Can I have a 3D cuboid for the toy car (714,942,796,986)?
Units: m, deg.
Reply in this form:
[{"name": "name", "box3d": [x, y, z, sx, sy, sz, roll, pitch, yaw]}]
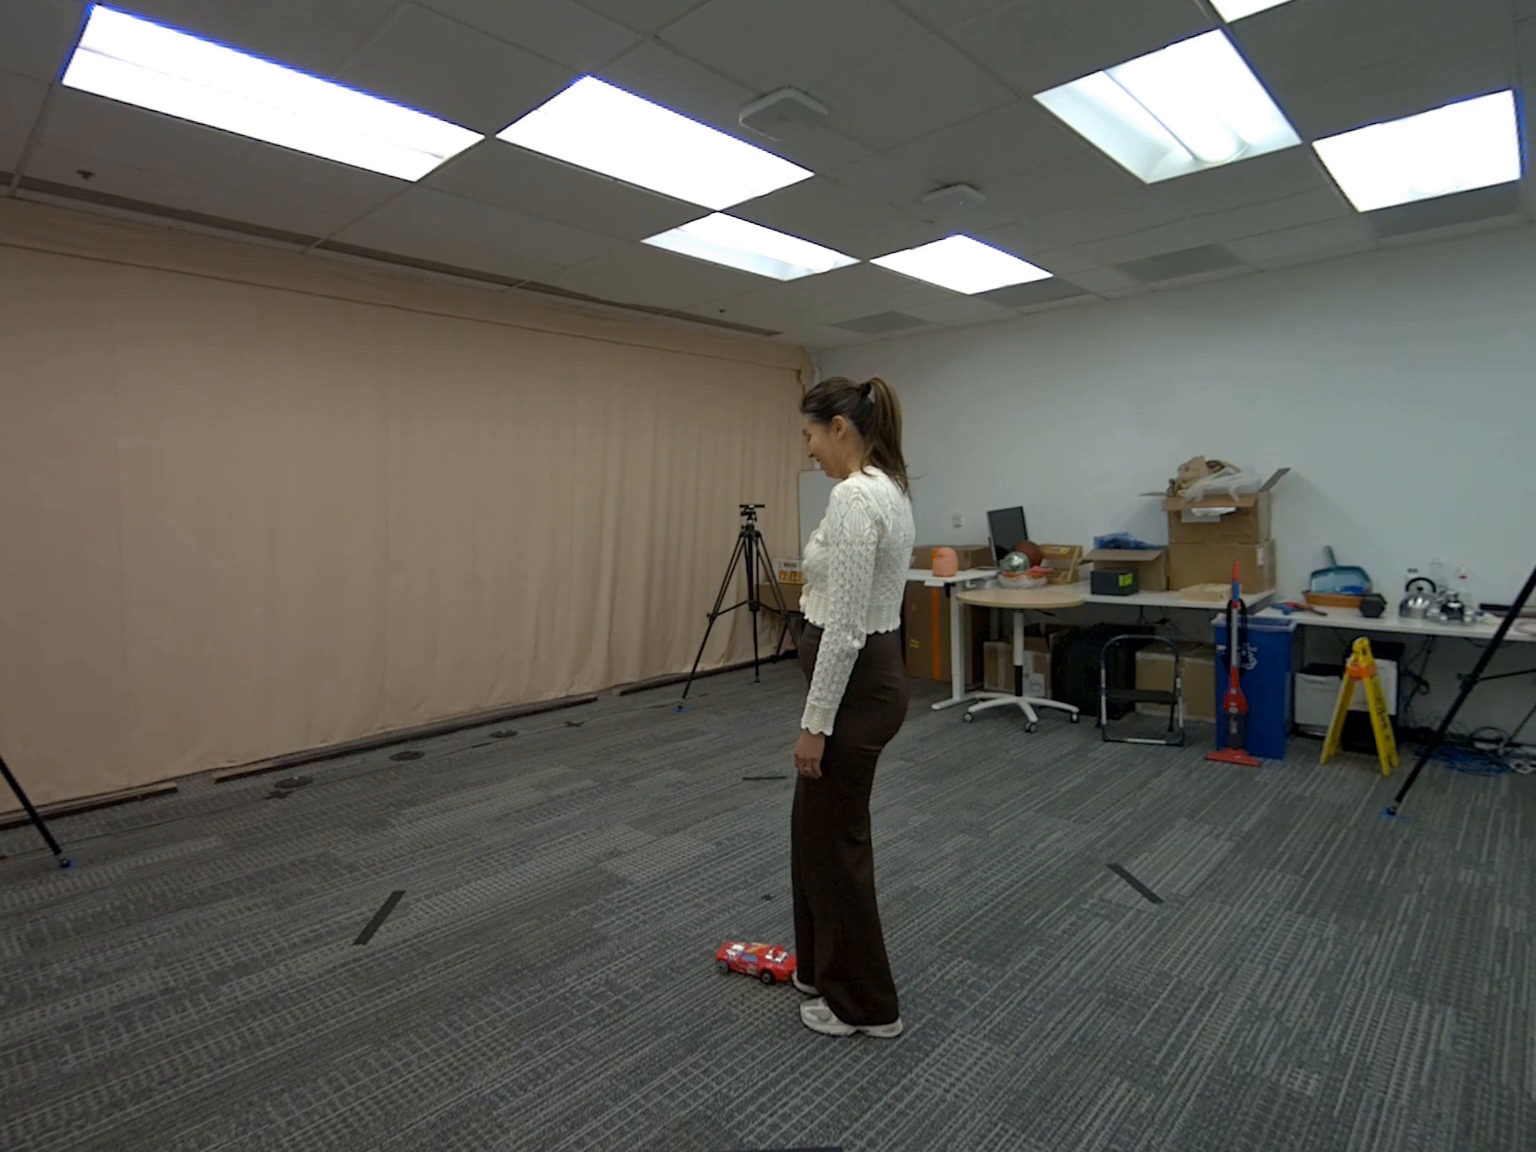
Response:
[{"name": "toy car", "box3d": [-0.022, 1.149, 2.504, 0.260, 0.083, 0.127, -11, -1, 28]}]
